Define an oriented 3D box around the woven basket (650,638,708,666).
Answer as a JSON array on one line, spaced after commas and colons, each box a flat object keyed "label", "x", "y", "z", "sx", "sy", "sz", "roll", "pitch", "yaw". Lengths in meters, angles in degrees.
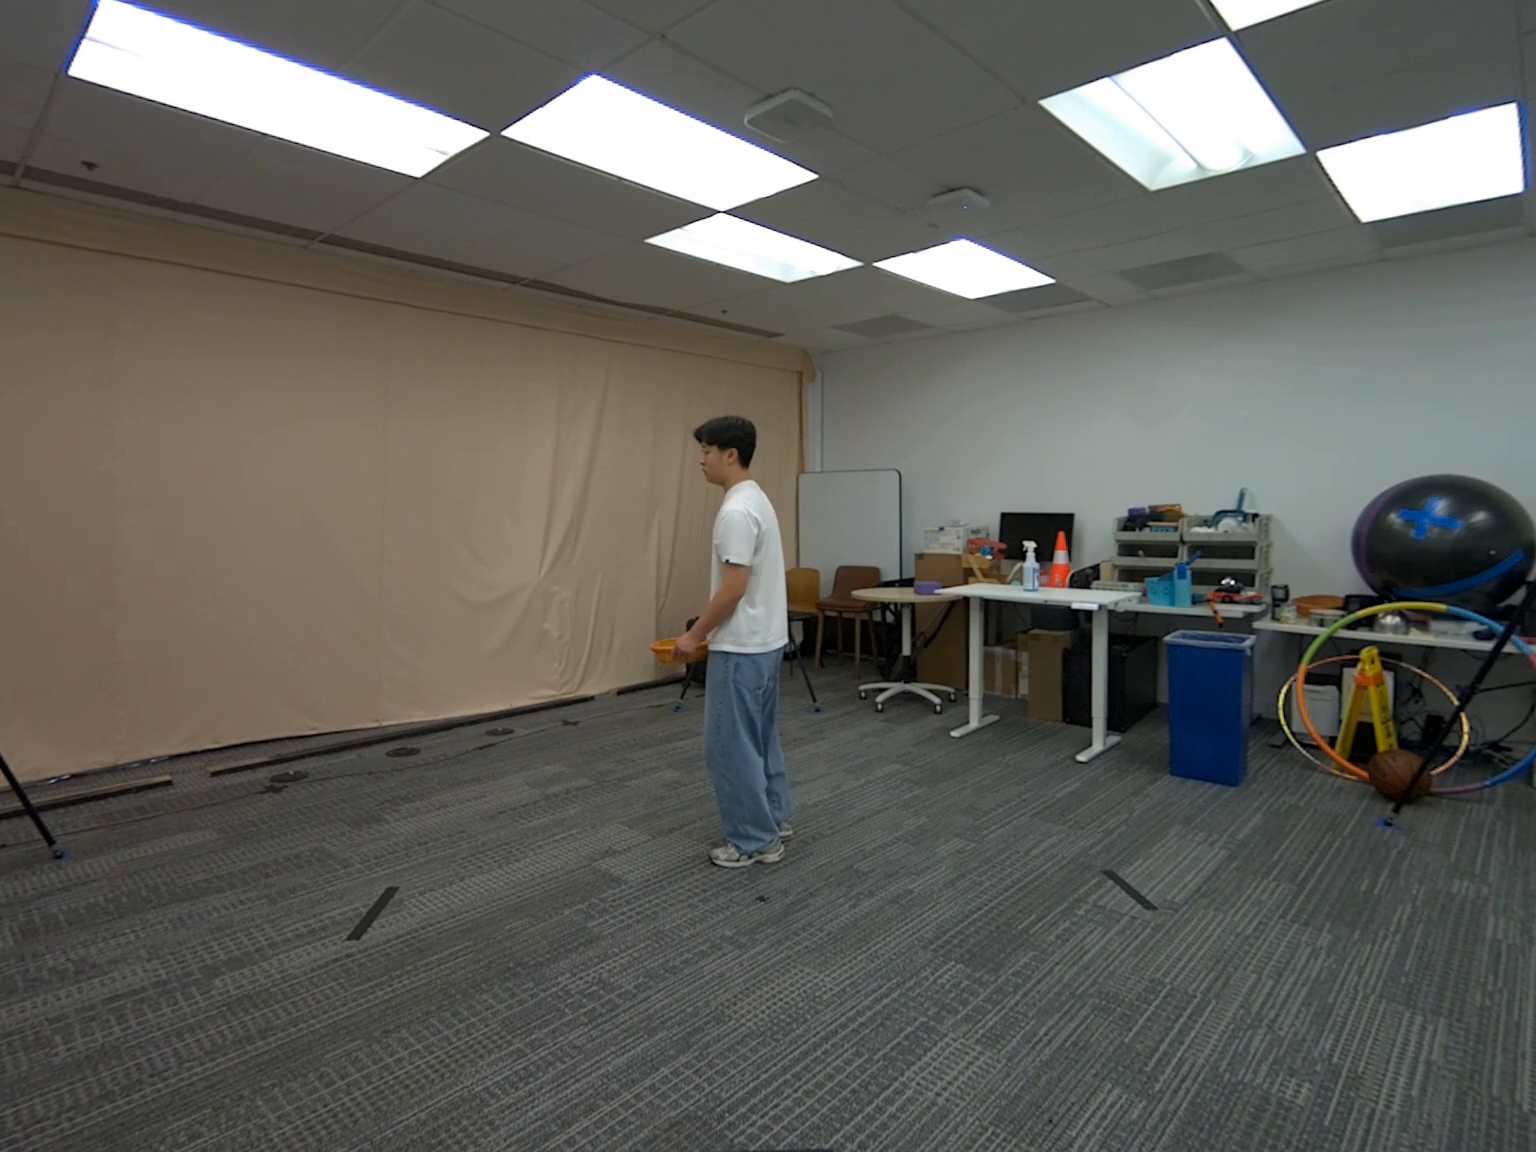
[{"label": "woven basket", "x": -0.321, "y": 0.299, "z": 3.438, "sx": 0.259, "sy": 0.073, "sz": 0.342, "roll": -5, "pitch": 3, "yaw": 28}]
